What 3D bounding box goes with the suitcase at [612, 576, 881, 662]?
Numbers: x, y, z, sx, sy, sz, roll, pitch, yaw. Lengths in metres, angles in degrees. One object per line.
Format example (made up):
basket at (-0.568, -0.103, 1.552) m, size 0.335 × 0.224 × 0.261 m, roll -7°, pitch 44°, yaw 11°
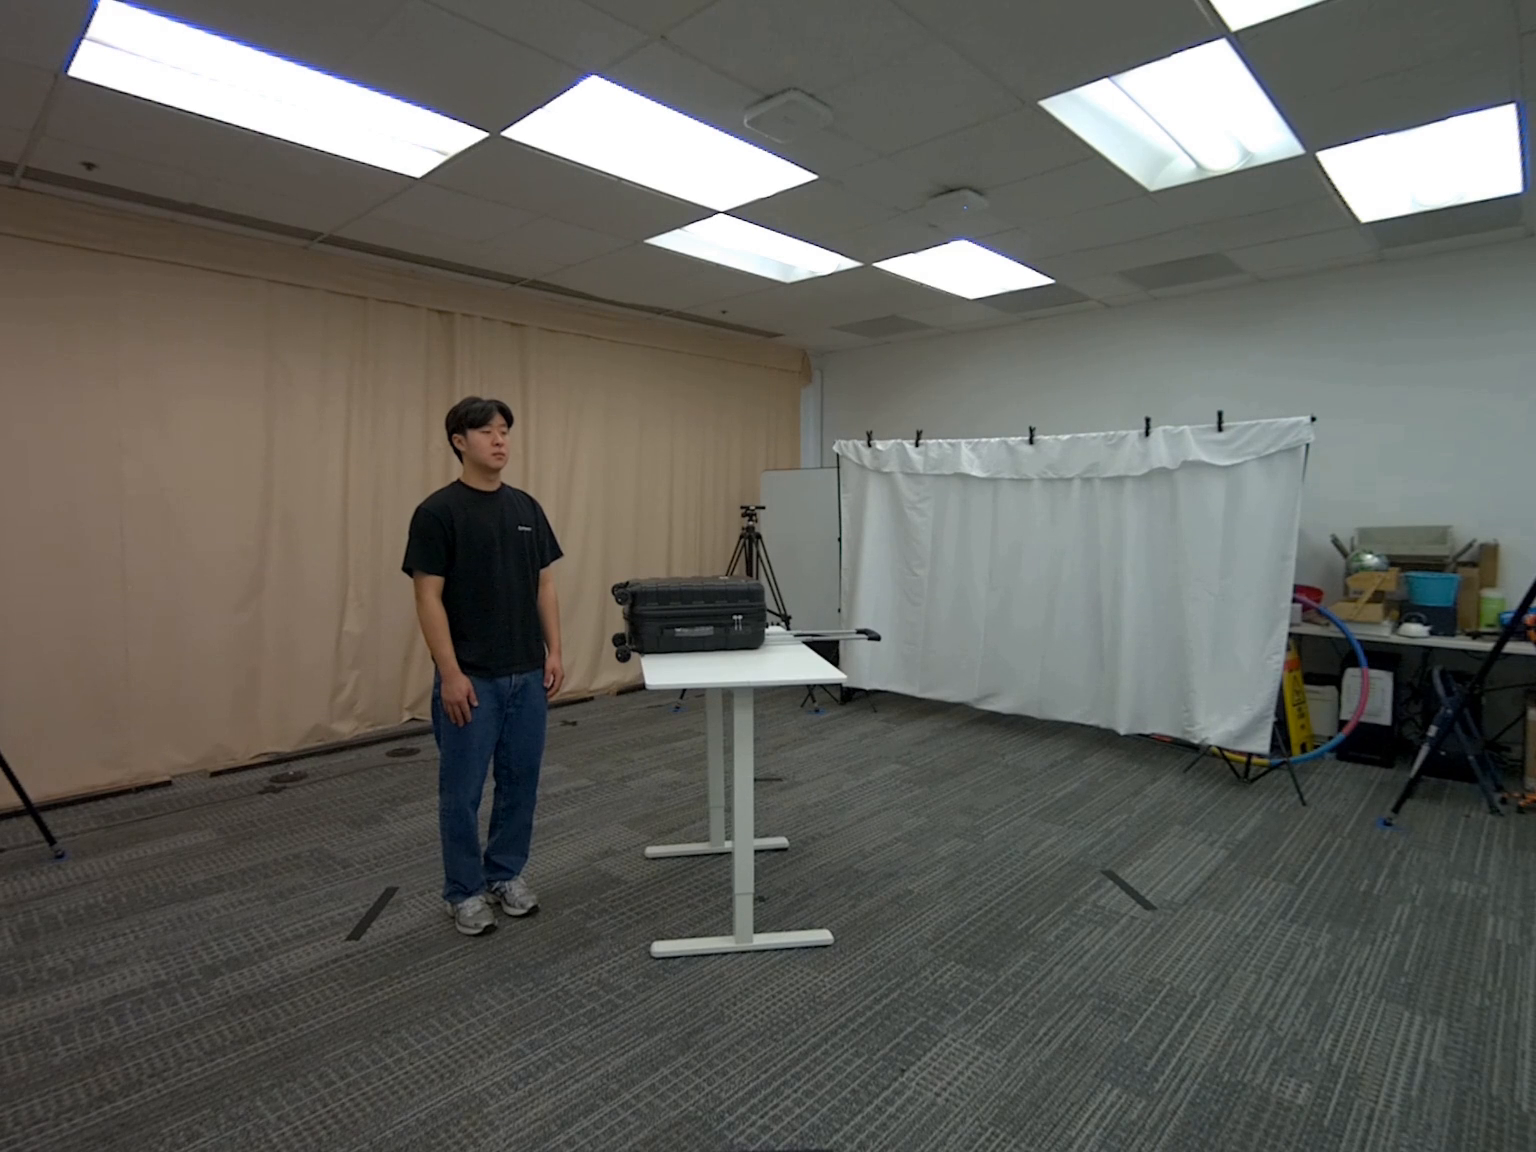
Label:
suitcase at (-0.085, 0.124, 3.107) m, size 0.969 × 0.256 × 0.388 m, roll -4°, pitch 3°, yaw -10°
